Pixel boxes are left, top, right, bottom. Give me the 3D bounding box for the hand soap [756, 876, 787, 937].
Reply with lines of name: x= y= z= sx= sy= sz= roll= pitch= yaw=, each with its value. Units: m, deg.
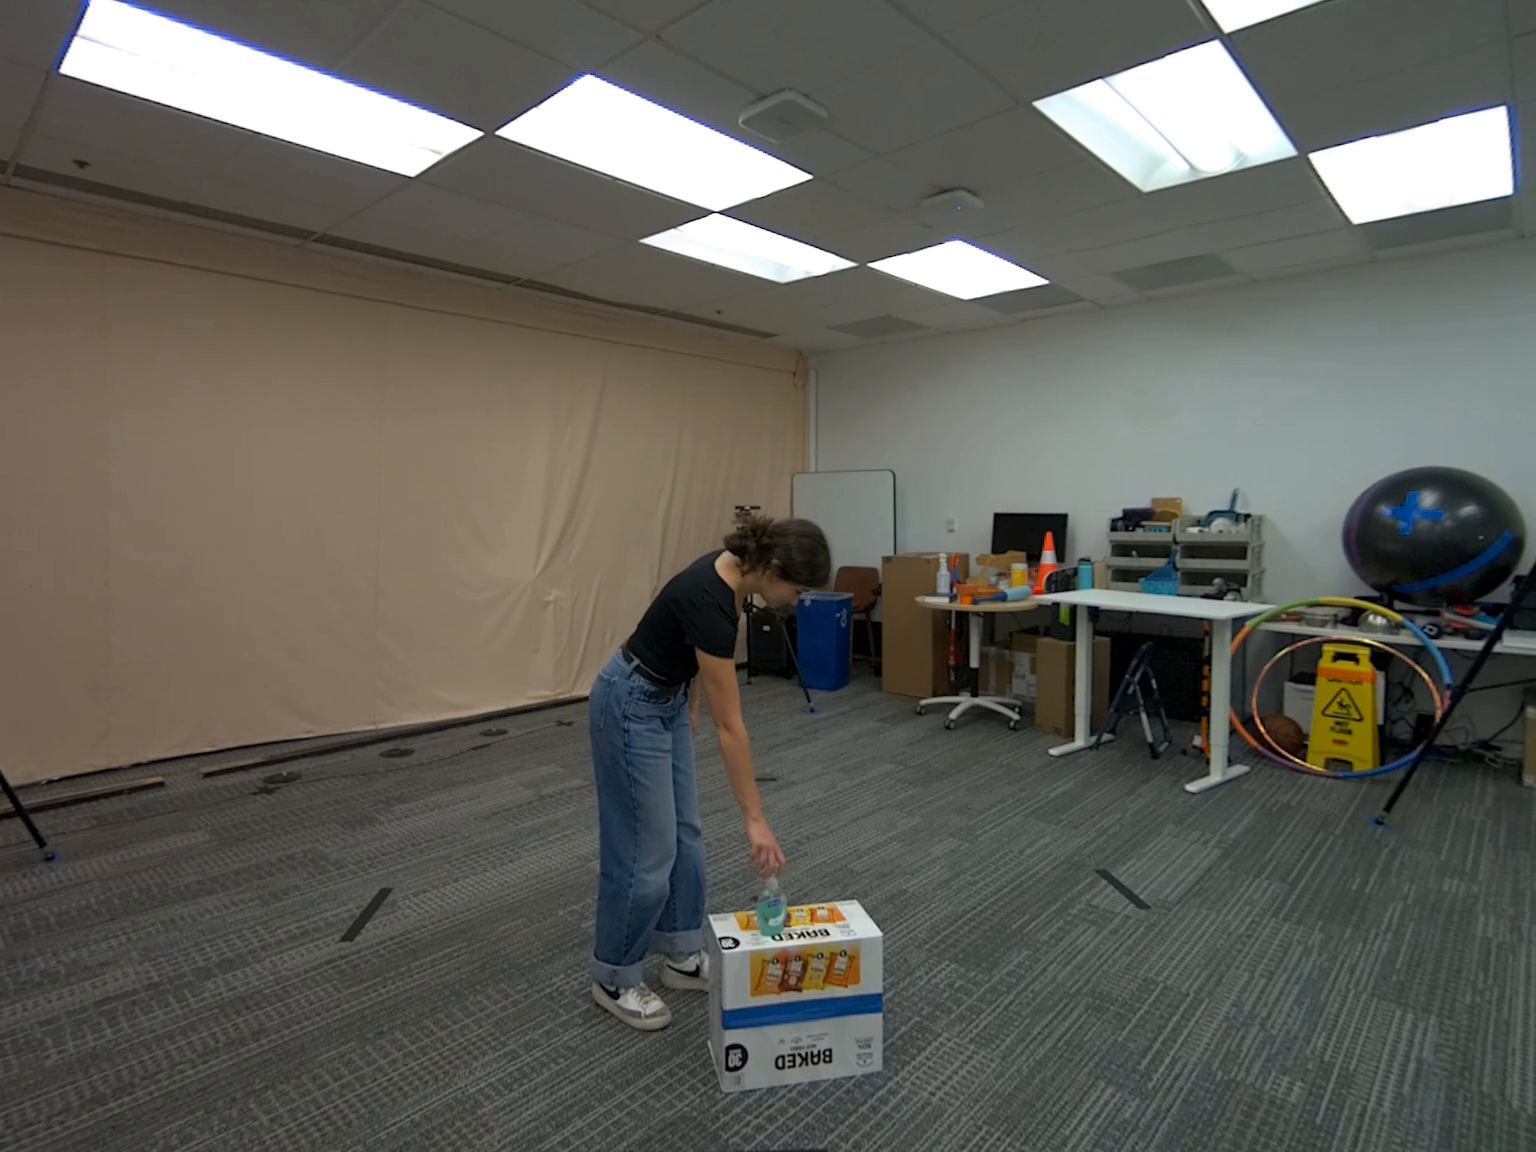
hand soap: x=0.014 y=0.803 z=2.079 sx=0.083 sy=0.168 sz=0.044 roll=-2 pitch=0 yaw=-23
